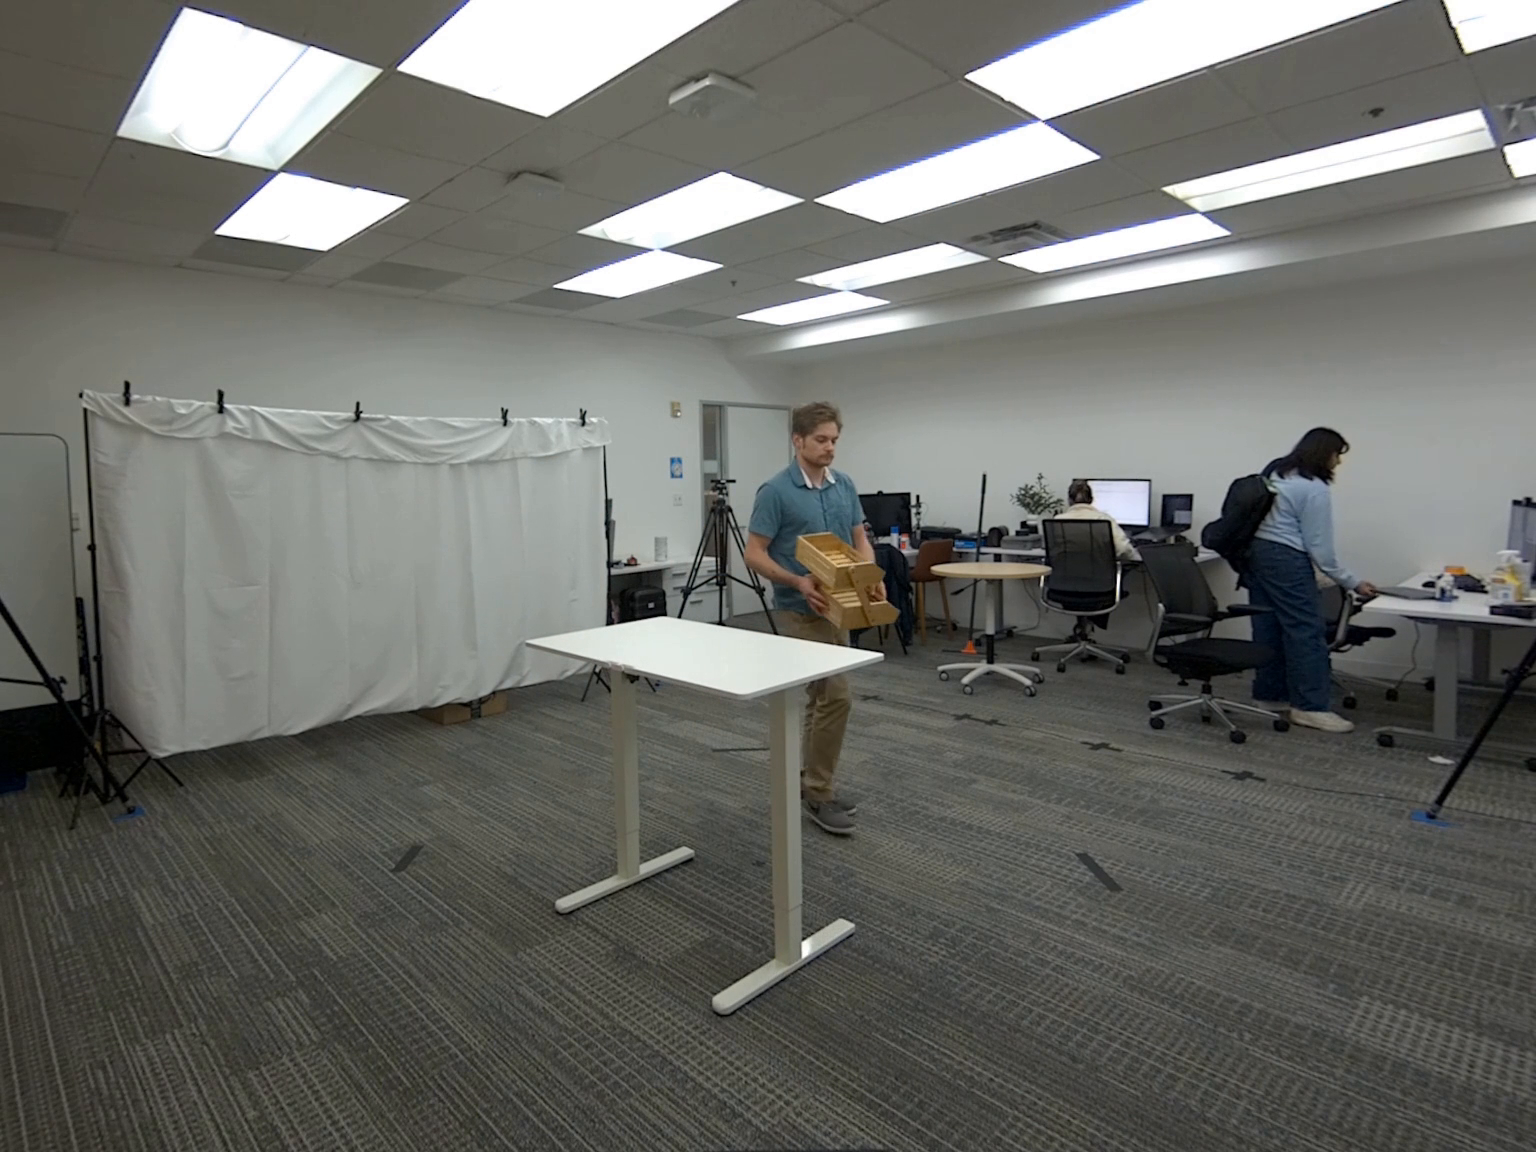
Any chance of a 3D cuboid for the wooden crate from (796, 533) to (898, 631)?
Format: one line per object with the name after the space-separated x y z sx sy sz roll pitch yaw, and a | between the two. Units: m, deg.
0.305 0.009 3.221 0.296 0.268 0.336 -6 25 -23 | wooden crate
